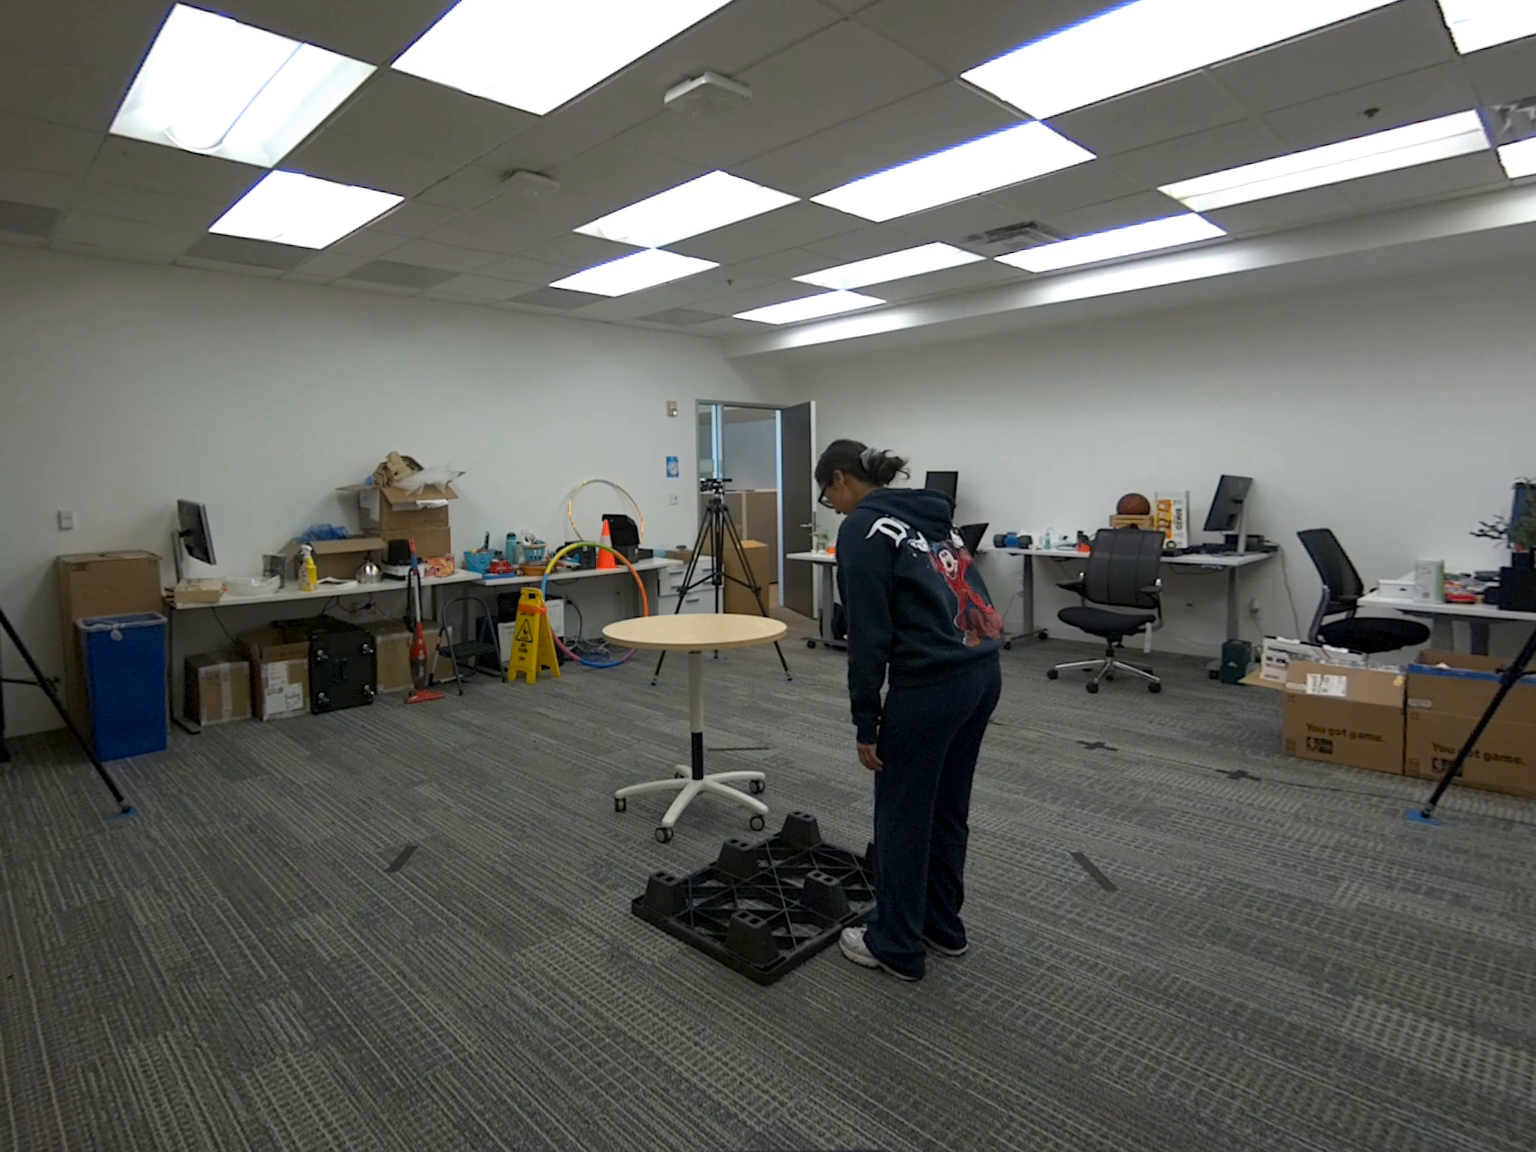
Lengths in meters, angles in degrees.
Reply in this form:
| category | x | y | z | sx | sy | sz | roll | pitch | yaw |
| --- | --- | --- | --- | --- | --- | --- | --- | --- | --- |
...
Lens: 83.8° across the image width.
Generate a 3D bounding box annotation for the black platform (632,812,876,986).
| category | x | y | z | sx | sy | sz | roll | pitch | yaw |
| --- | --- | --- | --- | --- | --- | --- | --- | --- | --- |
| black platform | 0.038 | 1.009 | 2.839 | 0.624 | 0.142 | 0.784 | 5 | 9 | 43 |
